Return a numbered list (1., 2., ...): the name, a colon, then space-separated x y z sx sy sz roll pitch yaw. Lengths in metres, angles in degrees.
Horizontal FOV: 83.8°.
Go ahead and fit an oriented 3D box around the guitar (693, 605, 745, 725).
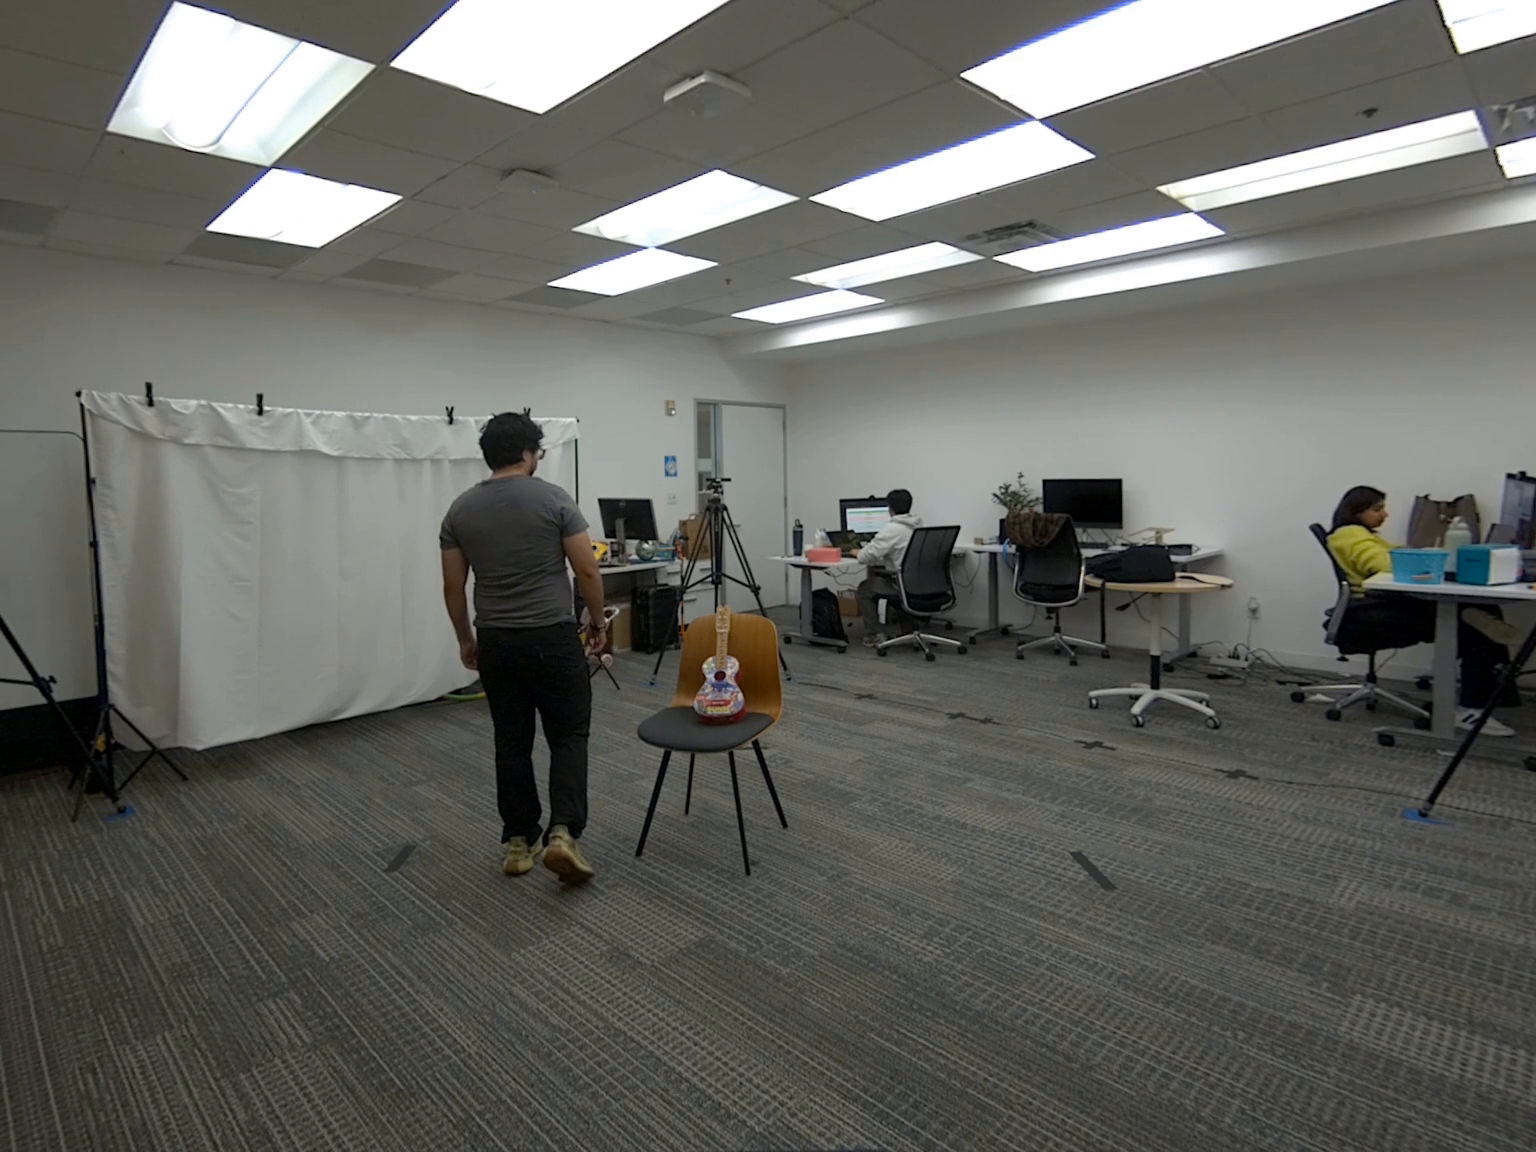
1. guitar: -0.153 0.339 3.346 0.196 0.506 0.068 4 -37 14
